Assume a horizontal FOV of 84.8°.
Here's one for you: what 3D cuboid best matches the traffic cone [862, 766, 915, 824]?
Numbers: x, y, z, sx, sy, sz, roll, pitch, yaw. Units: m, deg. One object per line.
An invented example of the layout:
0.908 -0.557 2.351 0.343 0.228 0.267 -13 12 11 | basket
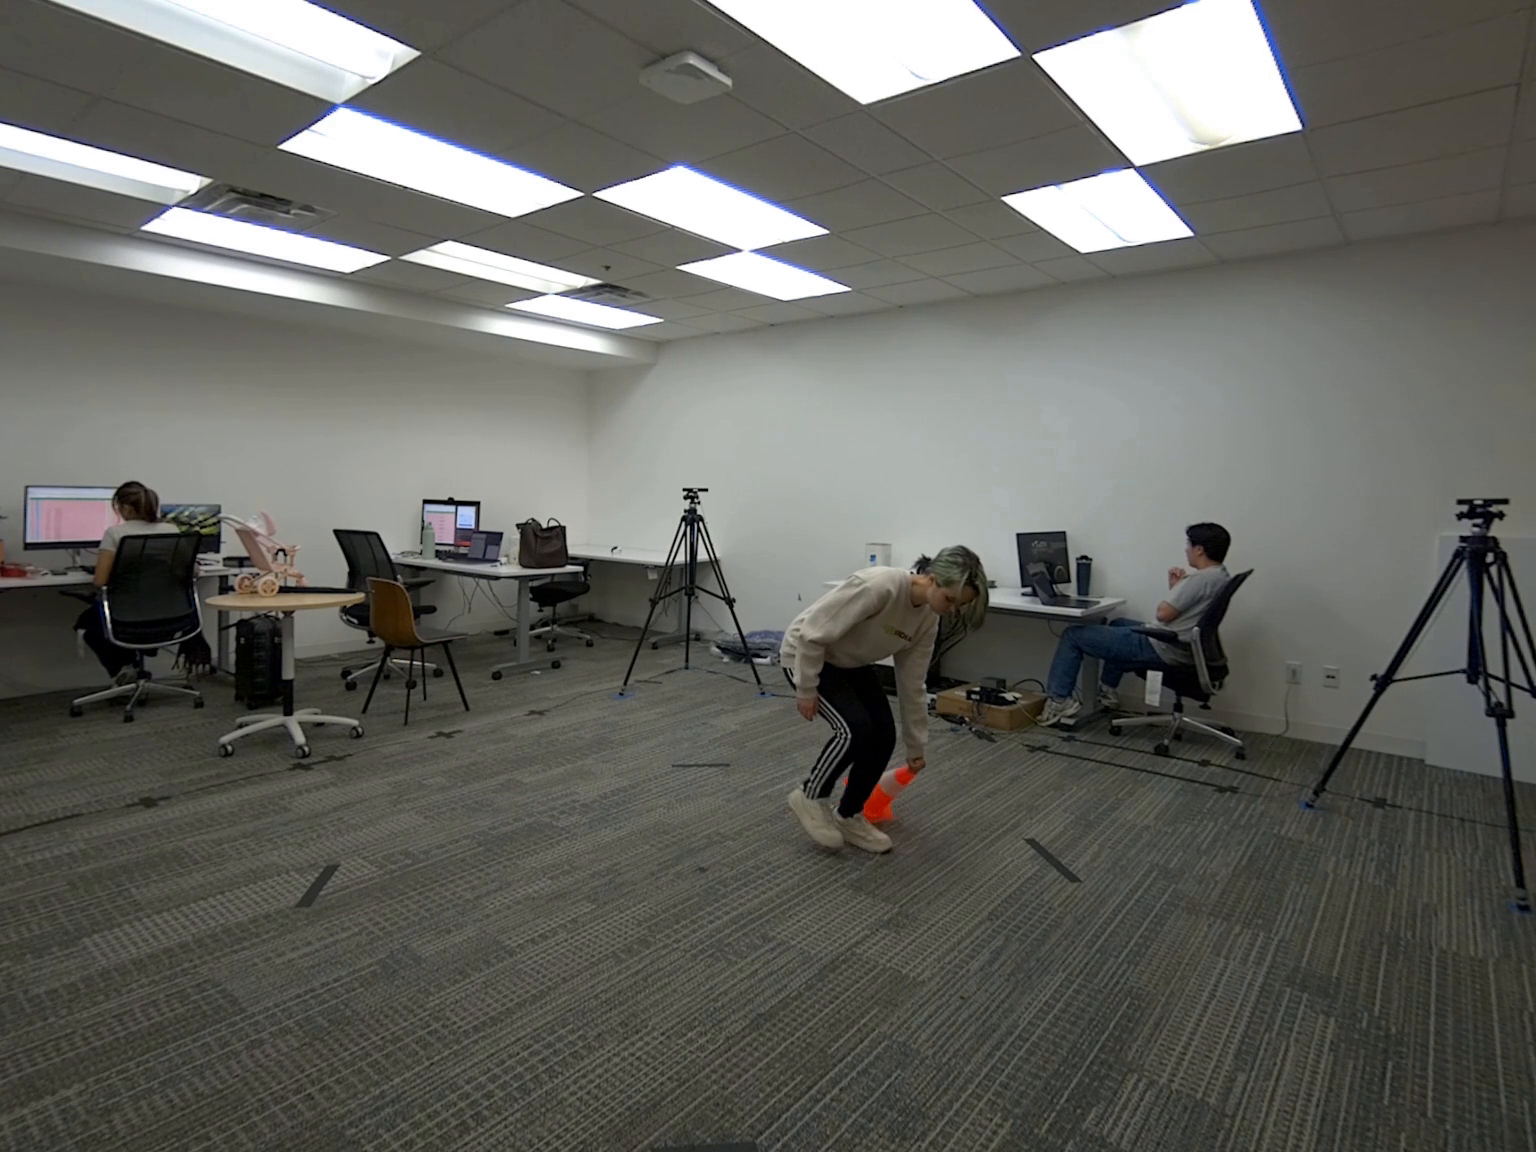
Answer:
0.508 0.847 3.506 0.200 0.210 0.382 3 -33 -27 | traffic cone
